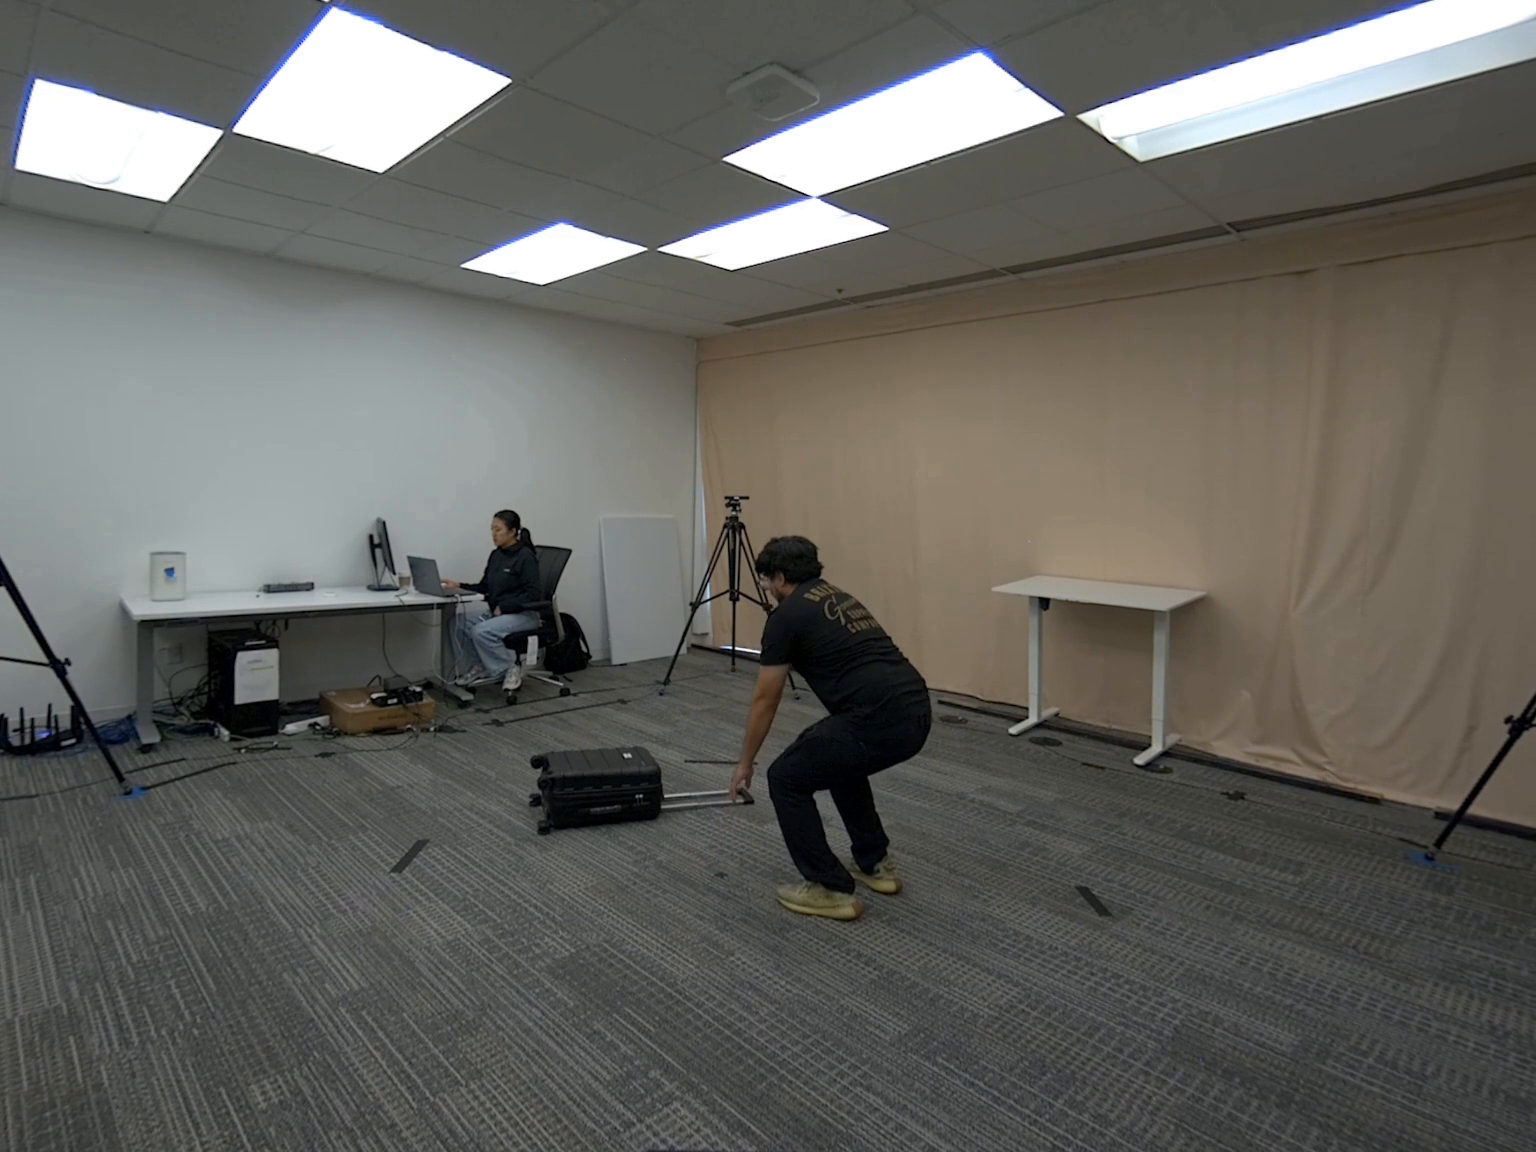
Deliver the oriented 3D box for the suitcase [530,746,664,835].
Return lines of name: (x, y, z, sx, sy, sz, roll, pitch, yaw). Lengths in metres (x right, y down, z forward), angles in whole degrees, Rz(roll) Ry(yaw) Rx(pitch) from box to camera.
suitcase: (-0.560, 0.911, 3.748, 0.964, 0.256, 0.391, -2, 5, -20)
